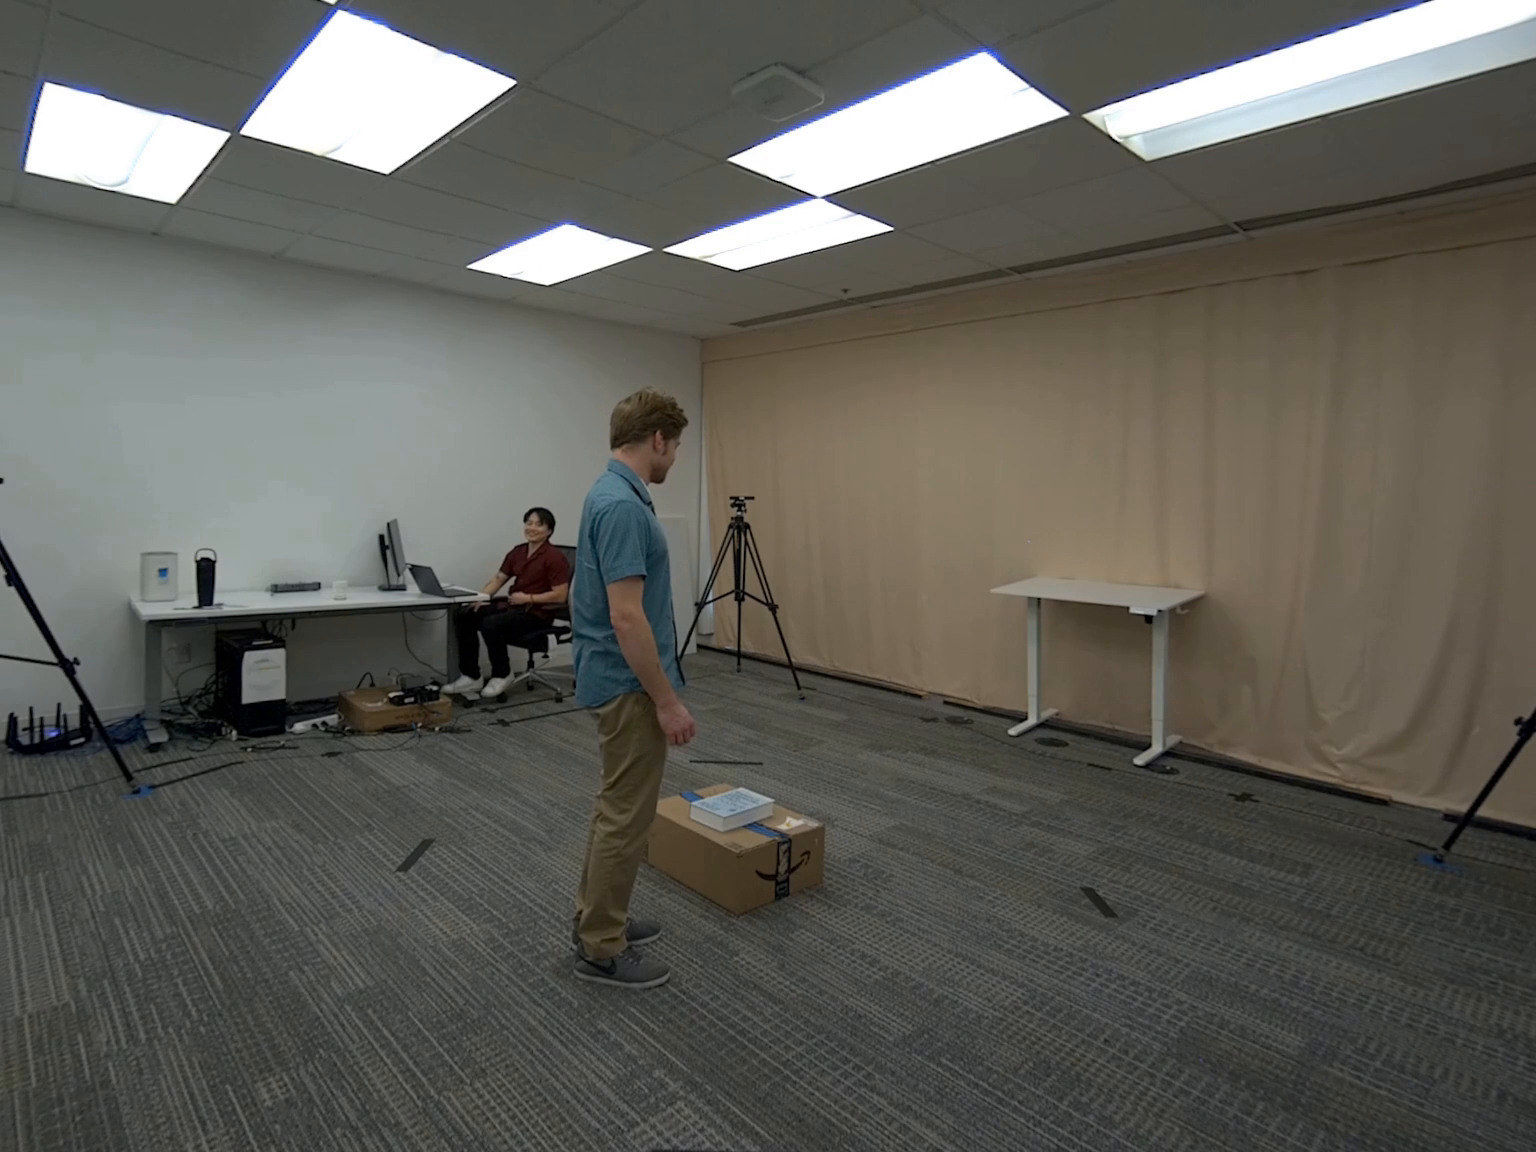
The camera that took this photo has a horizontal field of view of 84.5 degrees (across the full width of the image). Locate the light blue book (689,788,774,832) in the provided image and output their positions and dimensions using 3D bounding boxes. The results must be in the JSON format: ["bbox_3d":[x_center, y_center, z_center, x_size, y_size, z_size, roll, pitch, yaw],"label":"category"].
[{"bbox_3d":[-0.140,0.860,3.124,0.255,0.059,0.196,-4,7,-45],"label":"light blue book"}]
